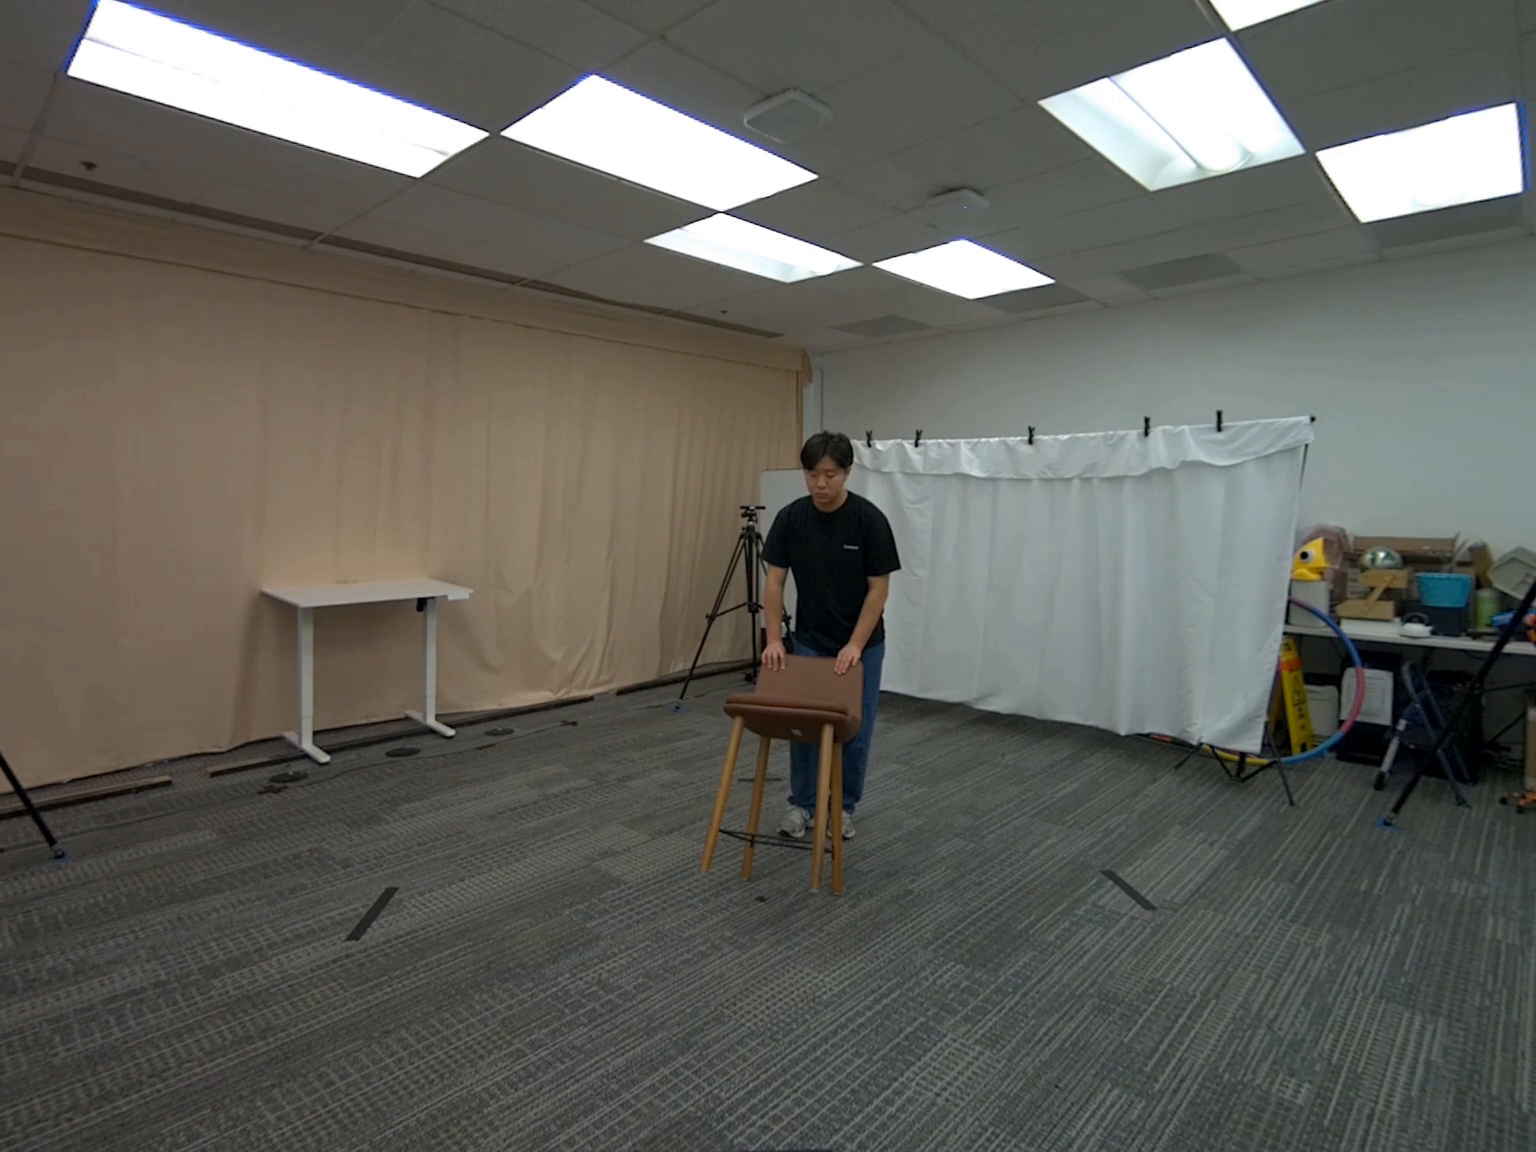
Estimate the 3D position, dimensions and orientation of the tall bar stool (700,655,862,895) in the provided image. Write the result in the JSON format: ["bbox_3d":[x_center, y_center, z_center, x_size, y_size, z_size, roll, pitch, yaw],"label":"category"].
[{"bbox_3d":[0.084,0.658,3.046,0.466,0.898,0.453,0,-24,20],"label":"tall bar stool"}]
